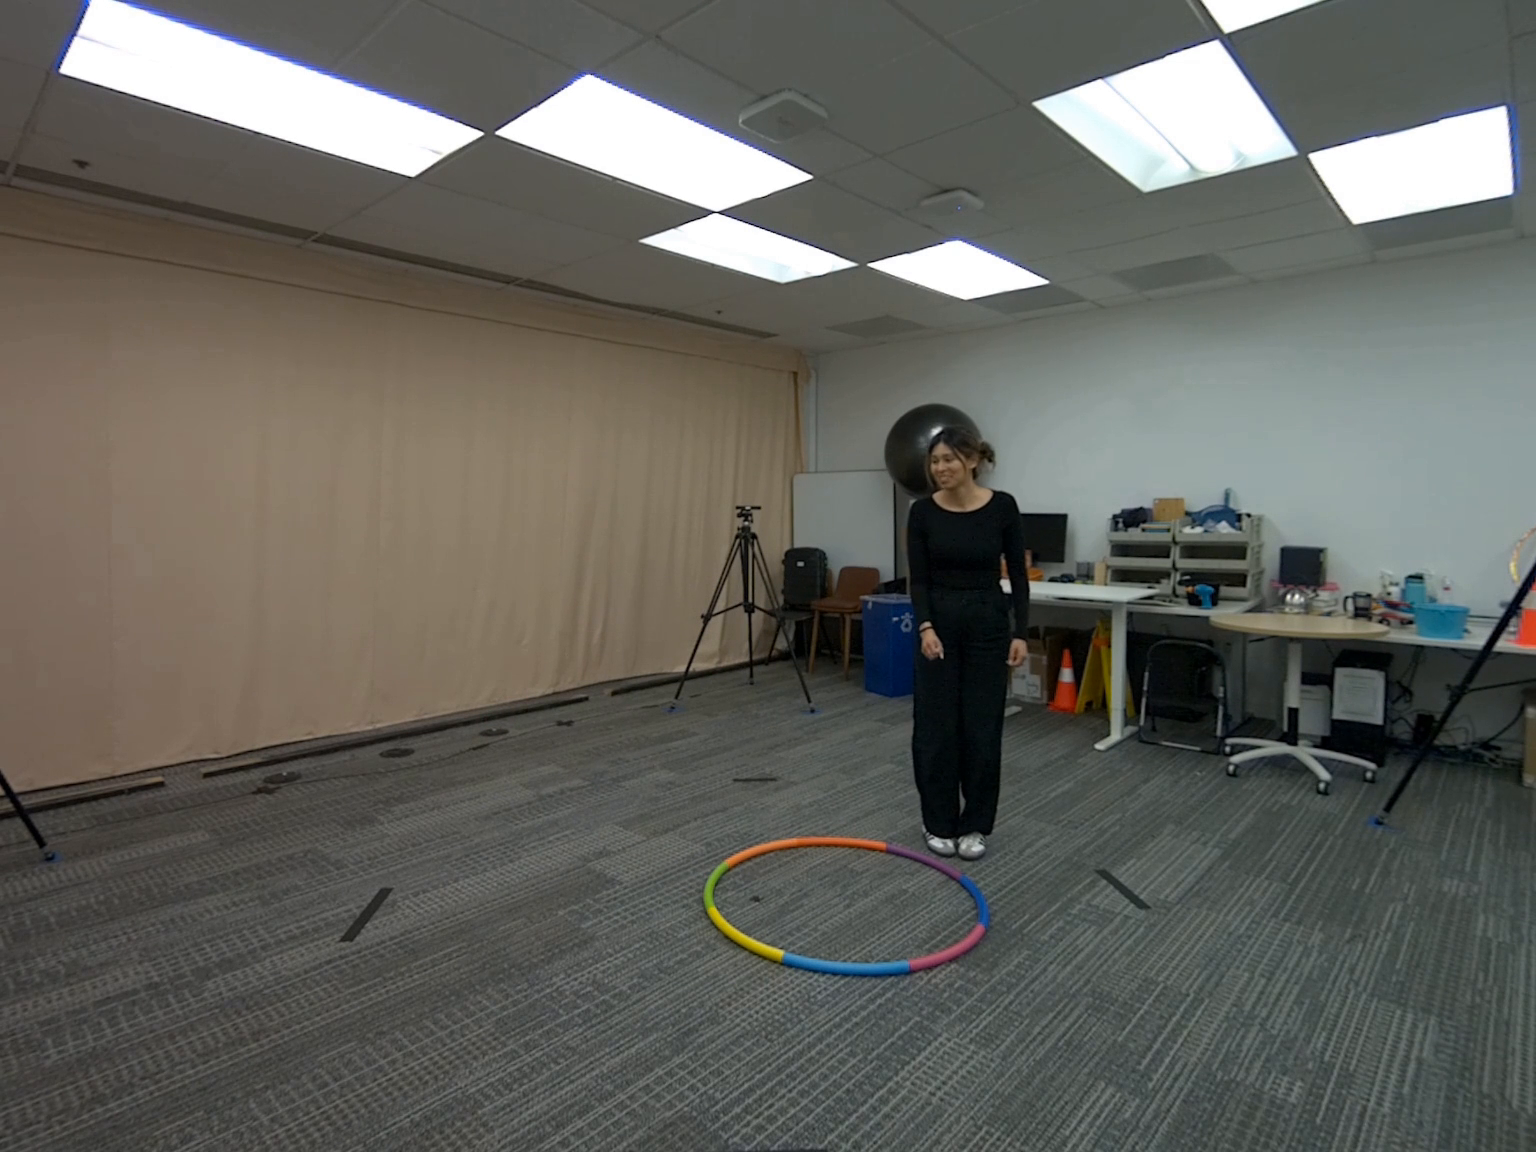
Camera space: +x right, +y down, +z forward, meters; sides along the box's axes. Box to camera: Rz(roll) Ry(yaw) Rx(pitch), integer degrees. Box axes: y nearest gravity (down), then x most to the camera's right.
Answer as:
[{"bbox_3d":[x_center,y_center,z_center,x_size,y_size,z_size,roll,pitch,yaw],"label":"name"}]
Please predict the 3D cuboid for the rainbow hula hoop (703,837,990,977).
[{"bbox_3d":[0.265,1.116,2.971,0.978,0.035,0.982,-1,5,-2],"label":"rainbow hula hoop"}]
